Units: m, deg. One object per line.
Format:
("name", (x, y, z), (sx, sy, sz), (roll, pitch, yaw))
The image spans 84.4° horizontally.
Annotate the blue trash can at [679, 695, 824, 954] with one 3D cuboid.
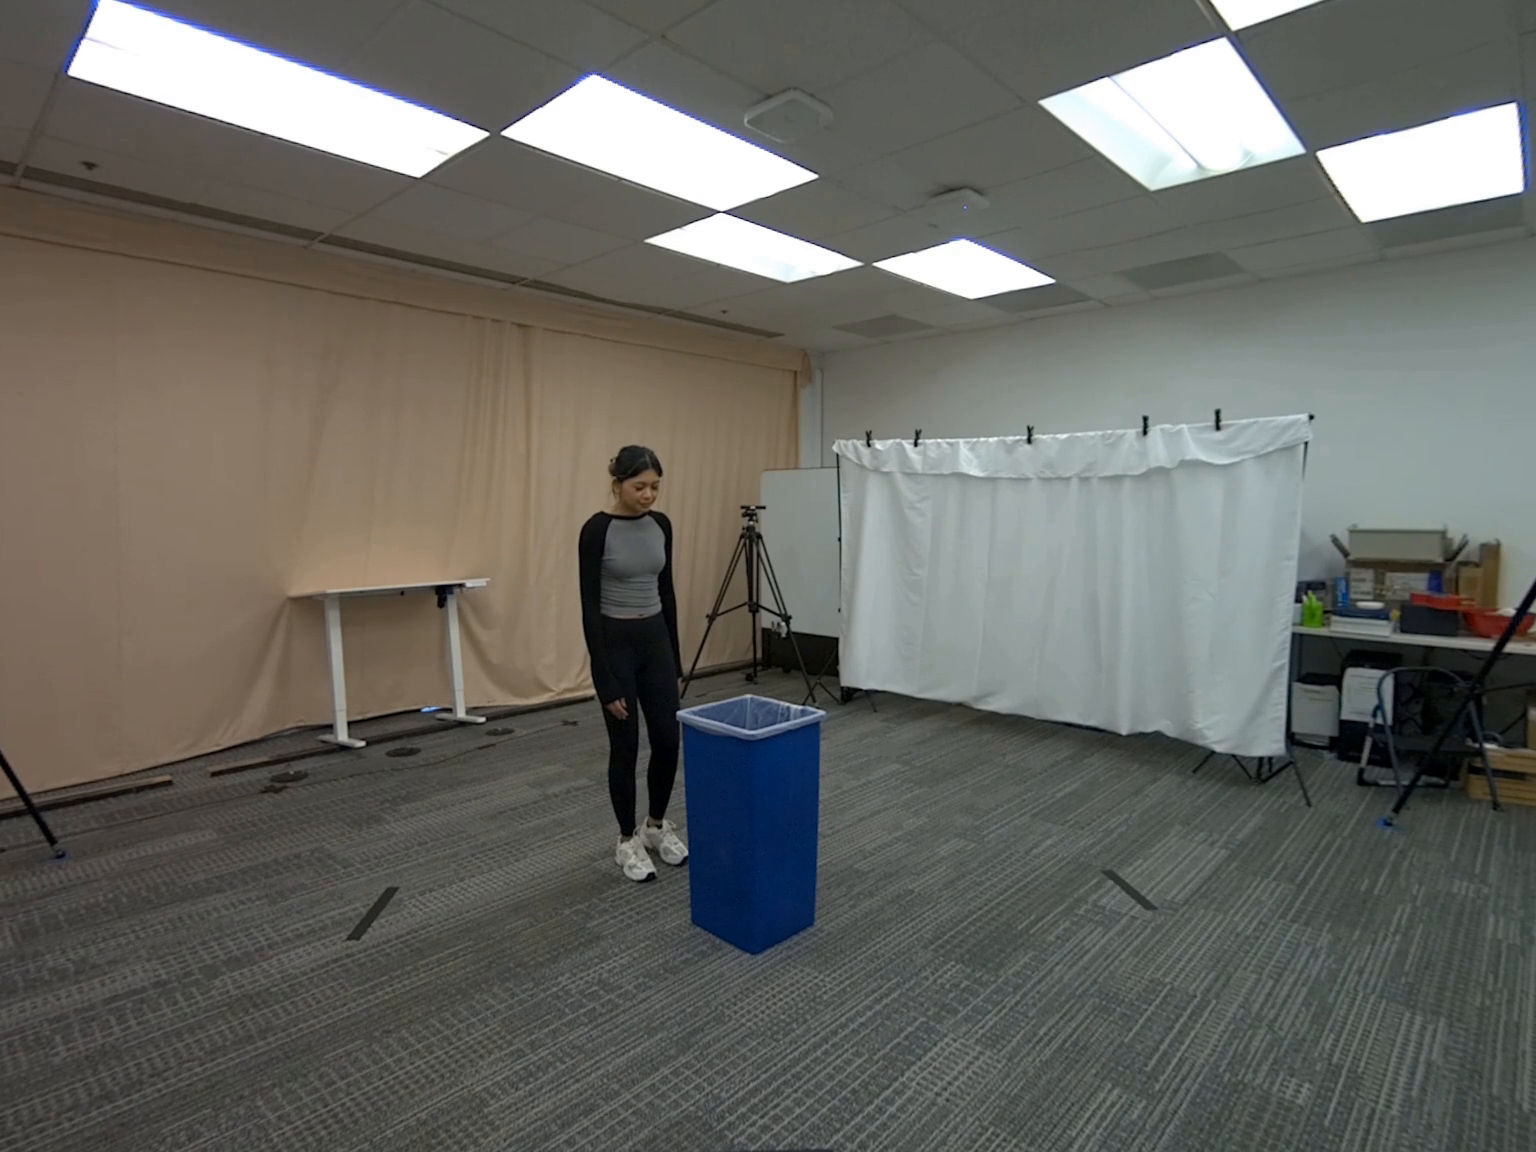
("blue trash can", (-0.051, 0.803, 2.786), (0.391, 0.712, 0.362), (3, 4, 44))
